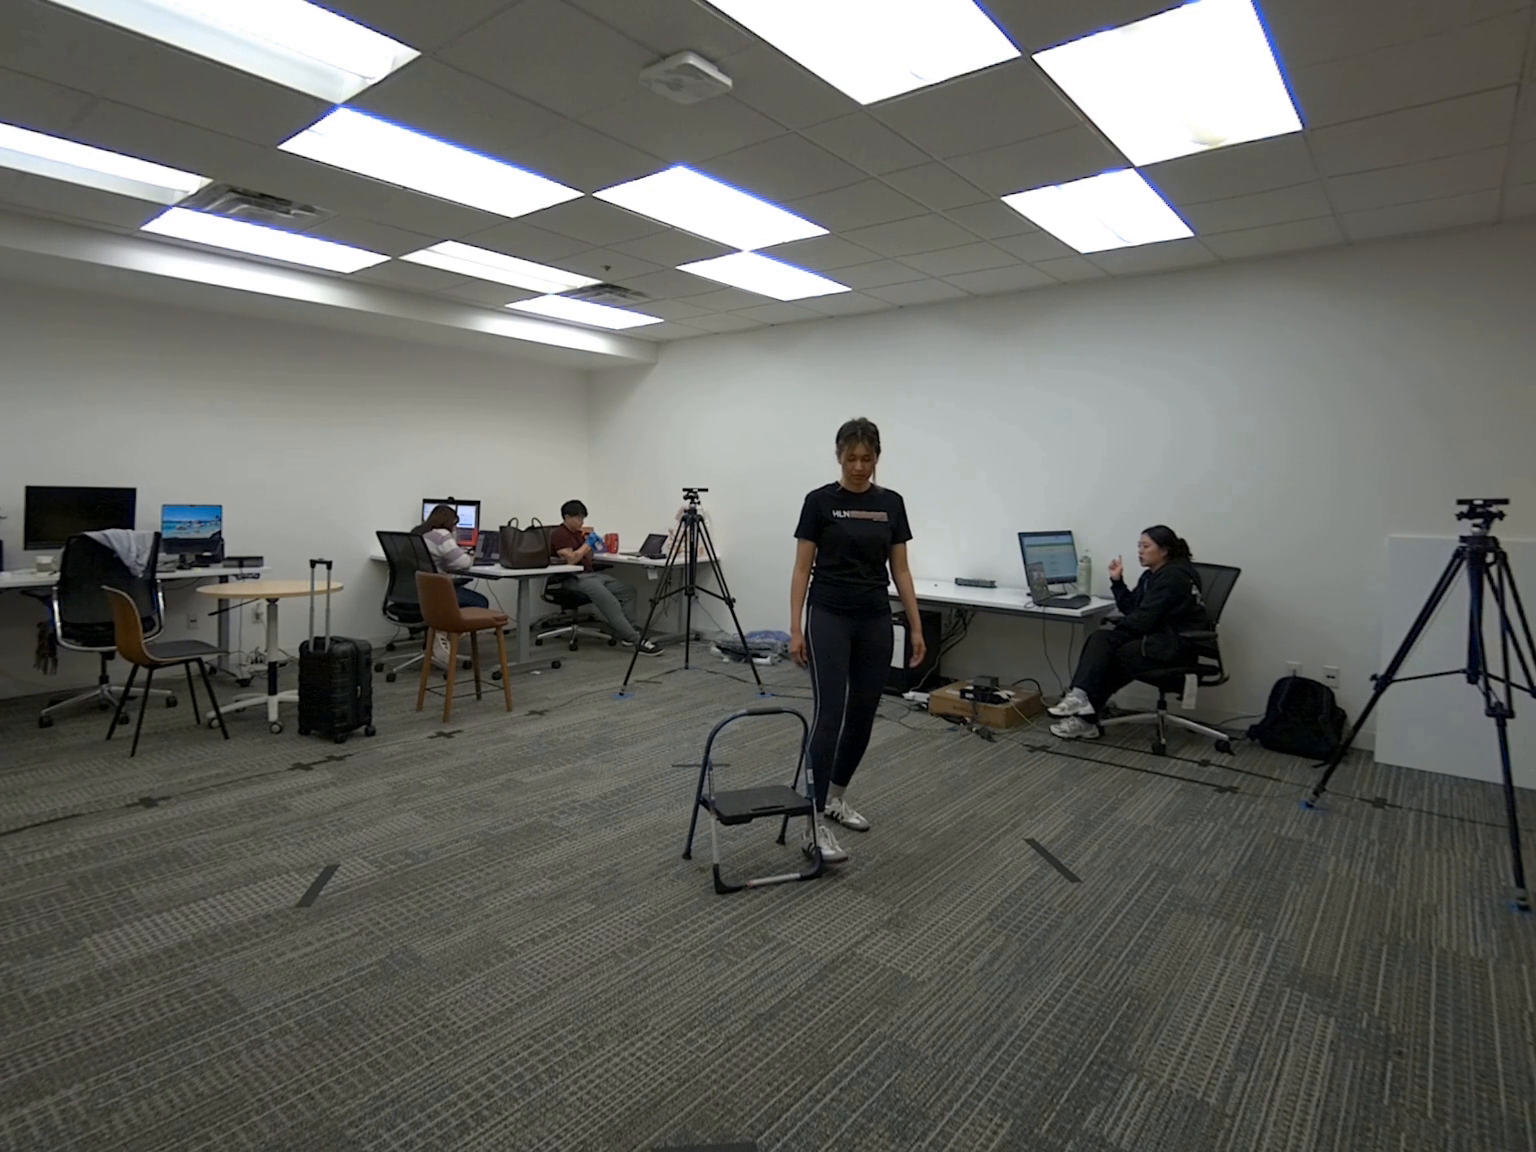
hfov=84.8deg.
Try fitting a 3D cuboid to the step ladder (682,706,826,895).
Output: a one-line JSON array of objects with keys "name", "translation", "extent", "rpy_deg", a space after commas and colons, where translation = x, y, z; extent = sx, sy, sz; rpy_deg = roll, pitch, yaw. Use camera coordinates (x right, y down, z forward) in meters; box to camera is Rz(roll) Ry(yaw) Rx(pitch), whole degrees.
[{"name": "step ladder", "translation": [-0.065, 0.769, 3.127], "extent": [0.421, 0.604, 0.358], "rpy_deg": [-1, 3, -24]}]
